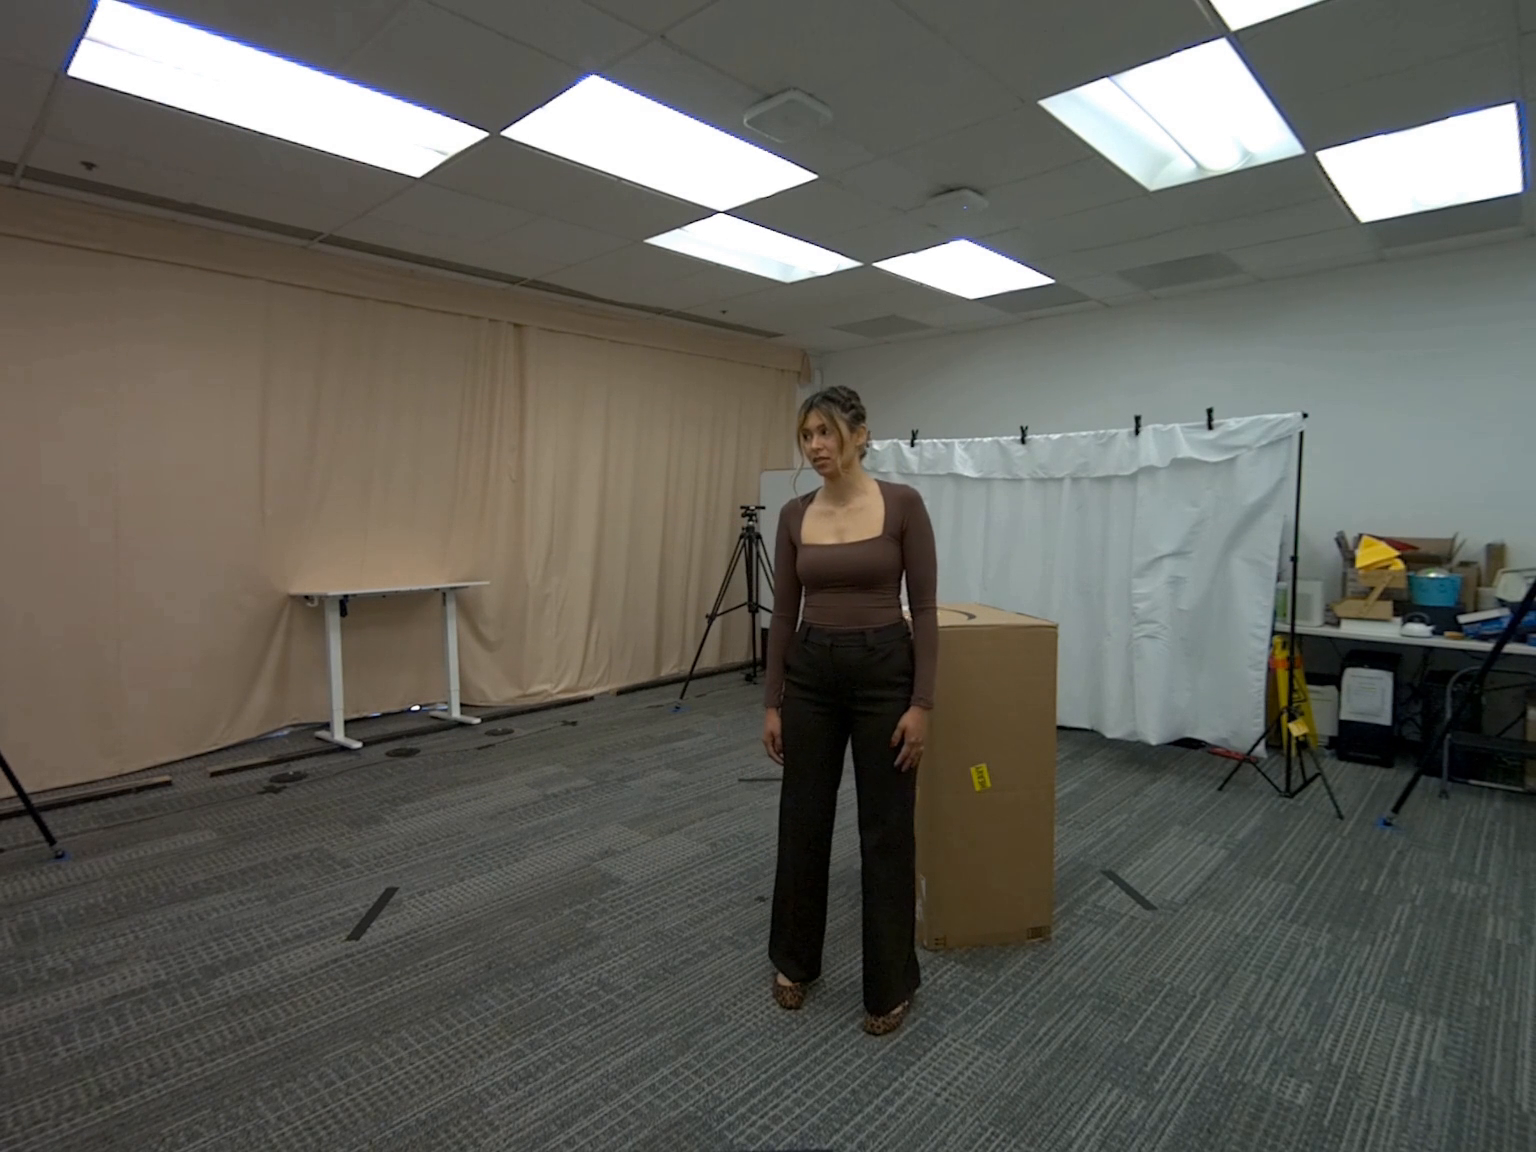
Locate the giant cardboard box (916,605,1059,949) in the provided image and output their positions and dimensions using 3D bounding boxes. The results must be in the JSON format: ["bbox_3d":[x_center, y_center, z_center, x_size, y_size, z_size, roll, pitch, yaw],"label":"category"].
[{"bbox_3d":[0.657,0.639,2.914,0.442,1.025,0.591,0,3,-11],"label":"giant cardboard box"}]
